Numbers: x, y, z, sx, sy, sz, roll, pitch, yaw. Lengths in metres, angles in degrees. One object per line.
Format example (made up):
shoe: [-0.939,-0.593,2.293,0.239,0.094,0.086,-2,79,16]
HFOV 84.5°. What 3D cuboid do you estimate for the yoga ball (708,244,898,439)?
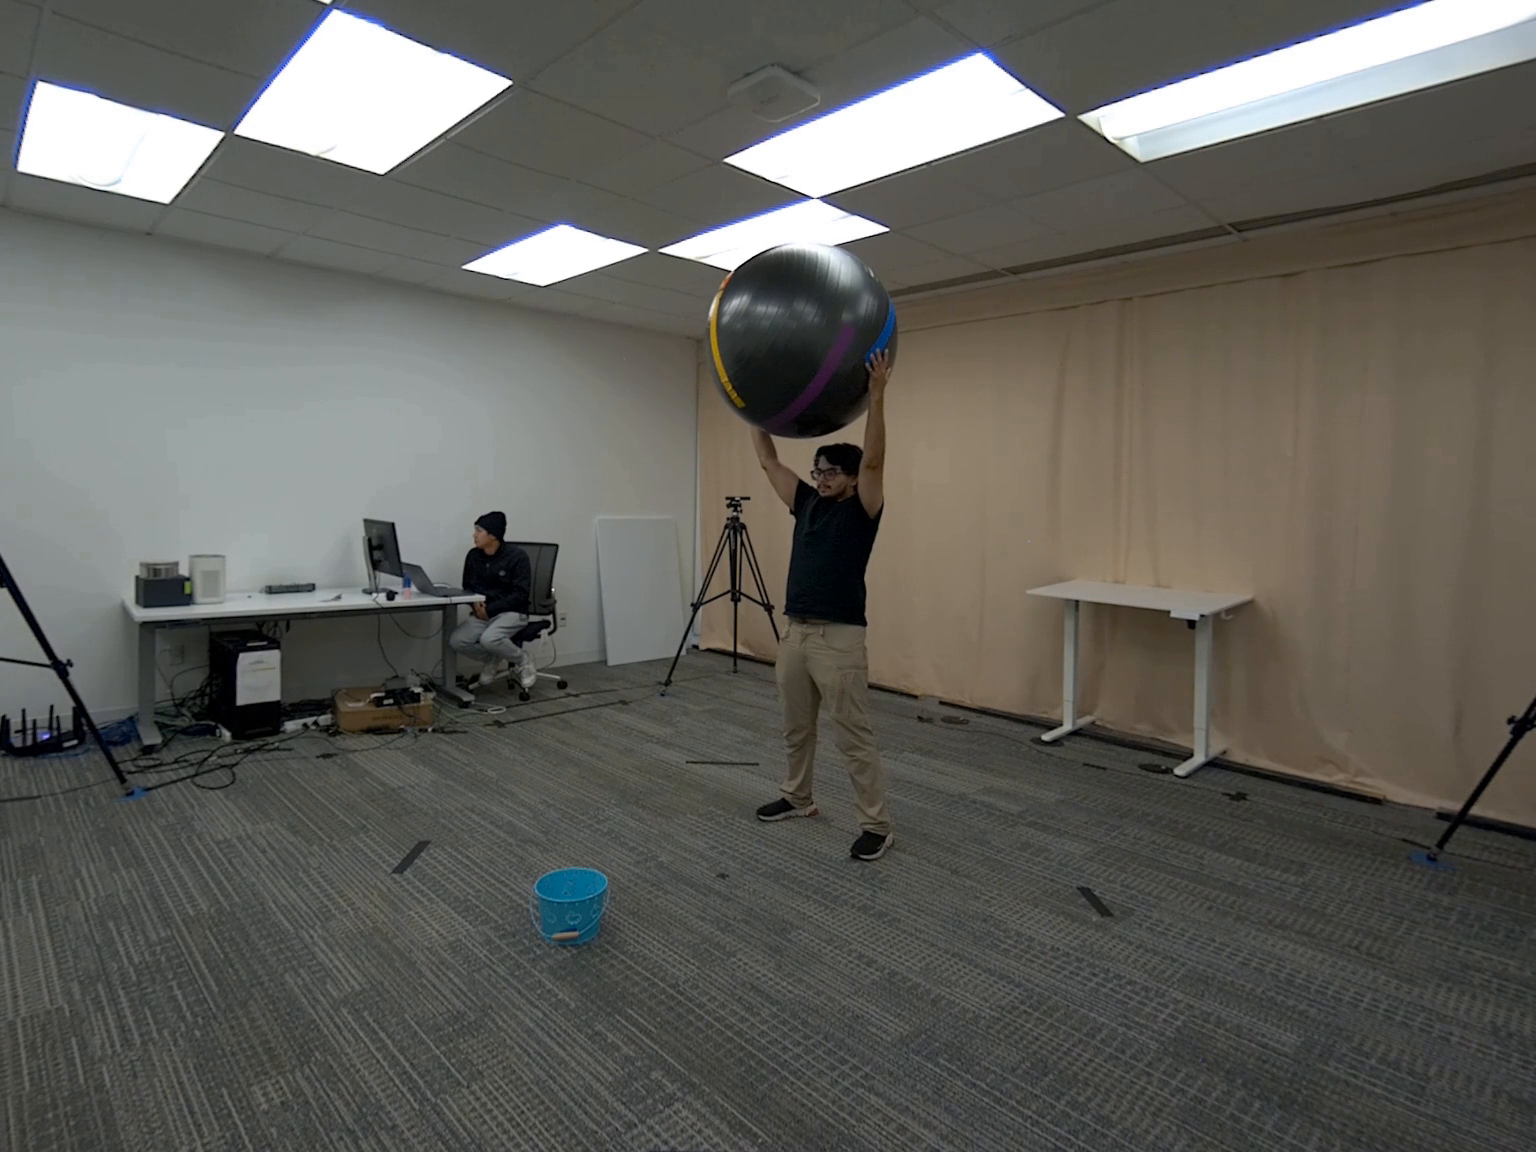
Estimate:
yoga ball: [0.121,-0.919,3.334,0.757,0.756,0.760,1,4,-1]
